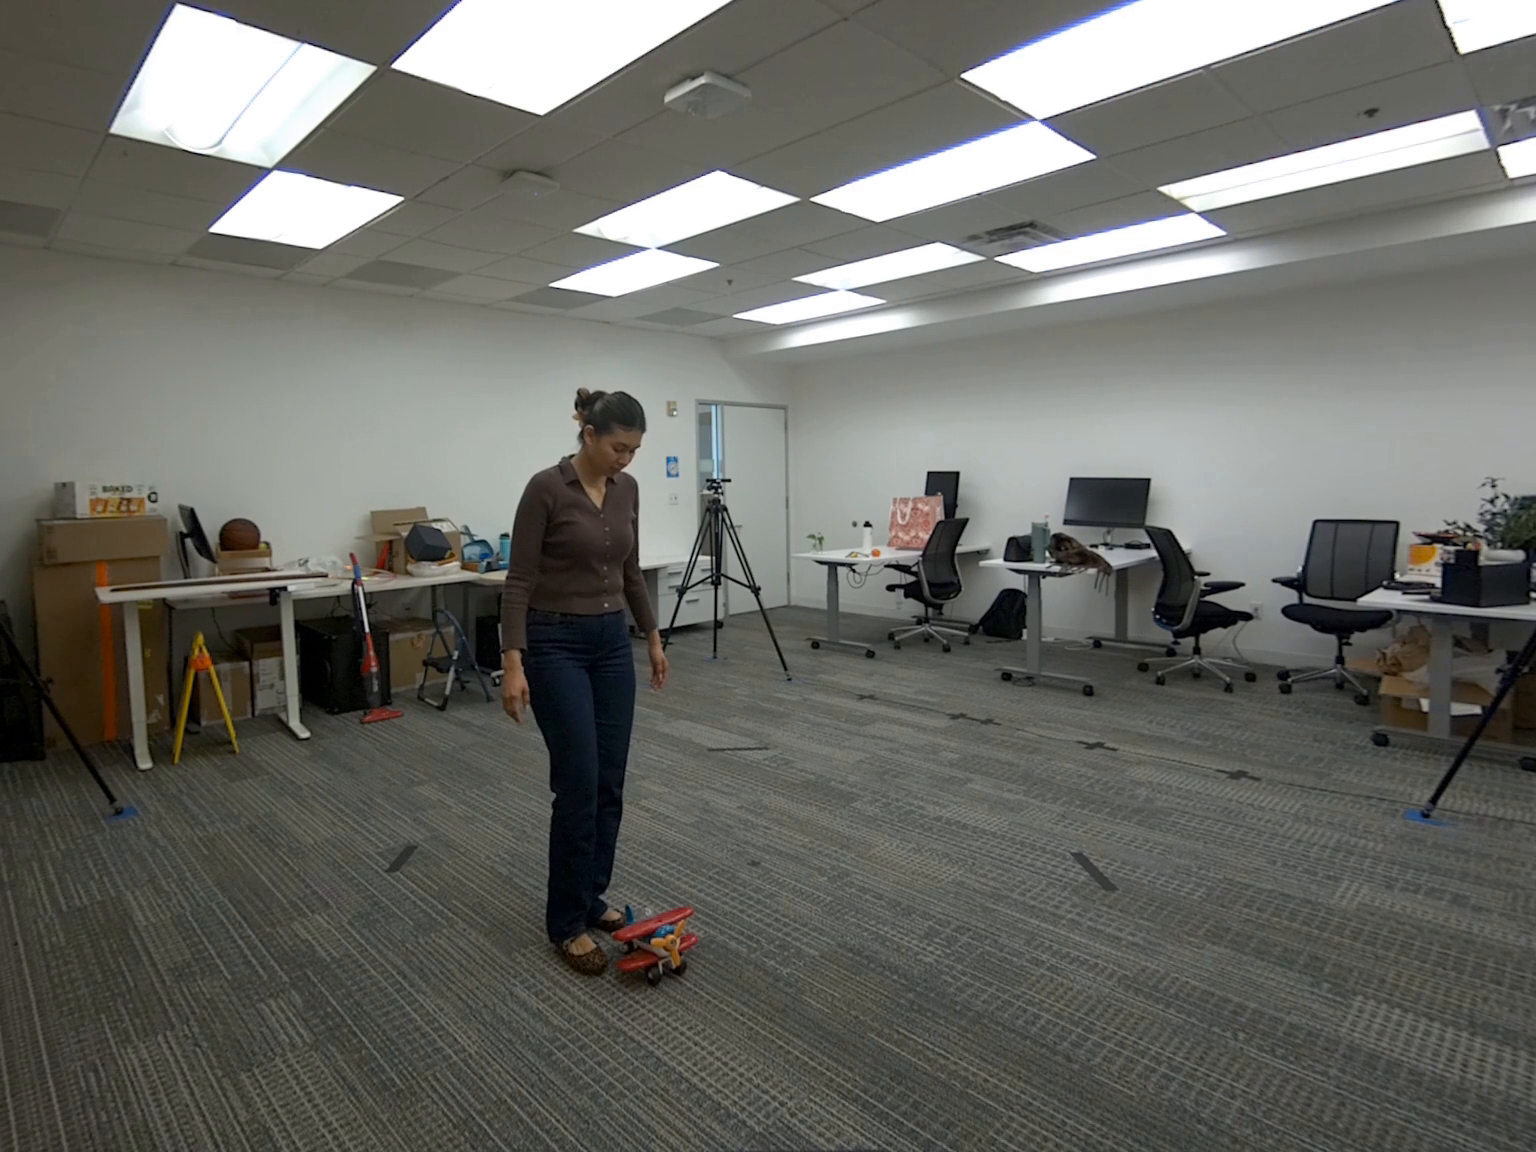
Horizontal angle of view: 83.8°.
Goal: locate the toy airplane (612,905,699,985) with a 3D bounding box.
[{"bbox_3d":[-0.351,1.045,2.459,0.265,0.155,0.247,3,7,24],"label":"toy airplane"}]
